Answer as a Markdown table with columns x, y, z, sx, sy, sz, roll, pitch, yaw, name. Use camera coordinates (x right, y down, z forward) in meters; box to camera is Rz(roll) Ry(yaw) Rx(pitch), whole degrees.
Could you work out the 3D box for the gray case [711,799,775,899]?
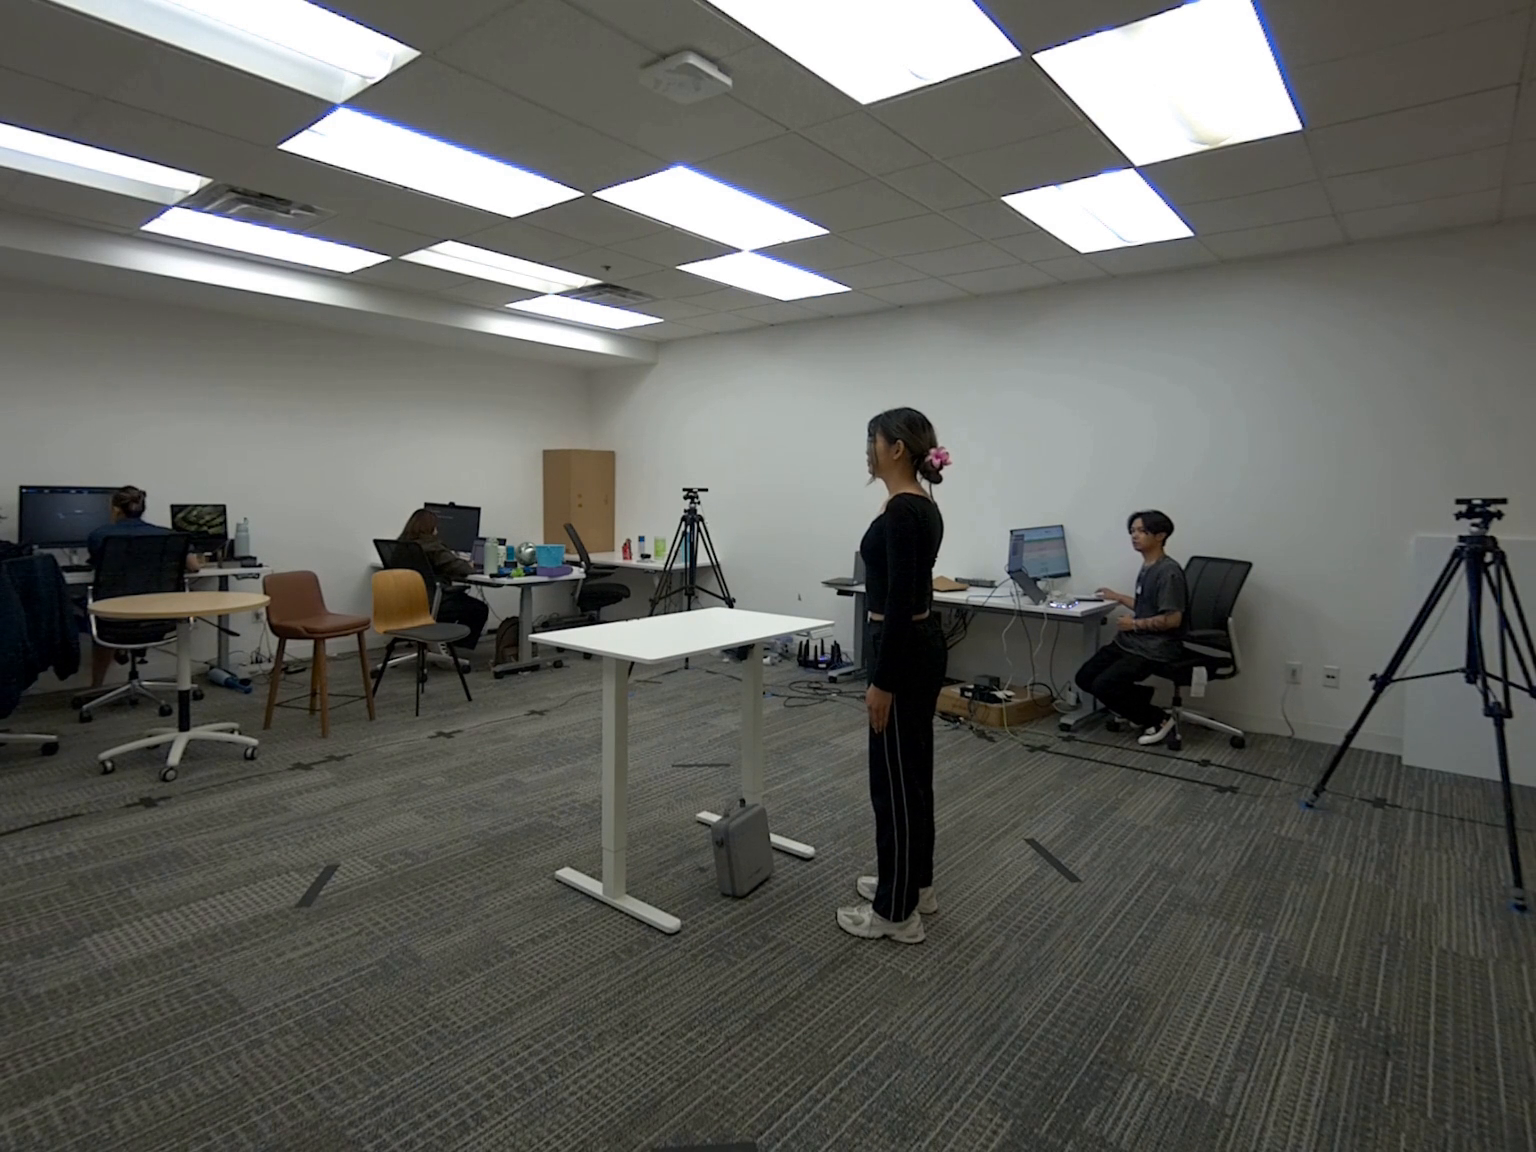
| x | y | z | sx | sy | sz | roll | pitch | yaw | name |
| --- | --- | --- | --- | --- | --- | --- | --- | --- | --- |
| -0.099 | 0.948 | 2.998 | 0.107 | 0.262 | 0.250 | -11 | -3 | 29 | gray case |
